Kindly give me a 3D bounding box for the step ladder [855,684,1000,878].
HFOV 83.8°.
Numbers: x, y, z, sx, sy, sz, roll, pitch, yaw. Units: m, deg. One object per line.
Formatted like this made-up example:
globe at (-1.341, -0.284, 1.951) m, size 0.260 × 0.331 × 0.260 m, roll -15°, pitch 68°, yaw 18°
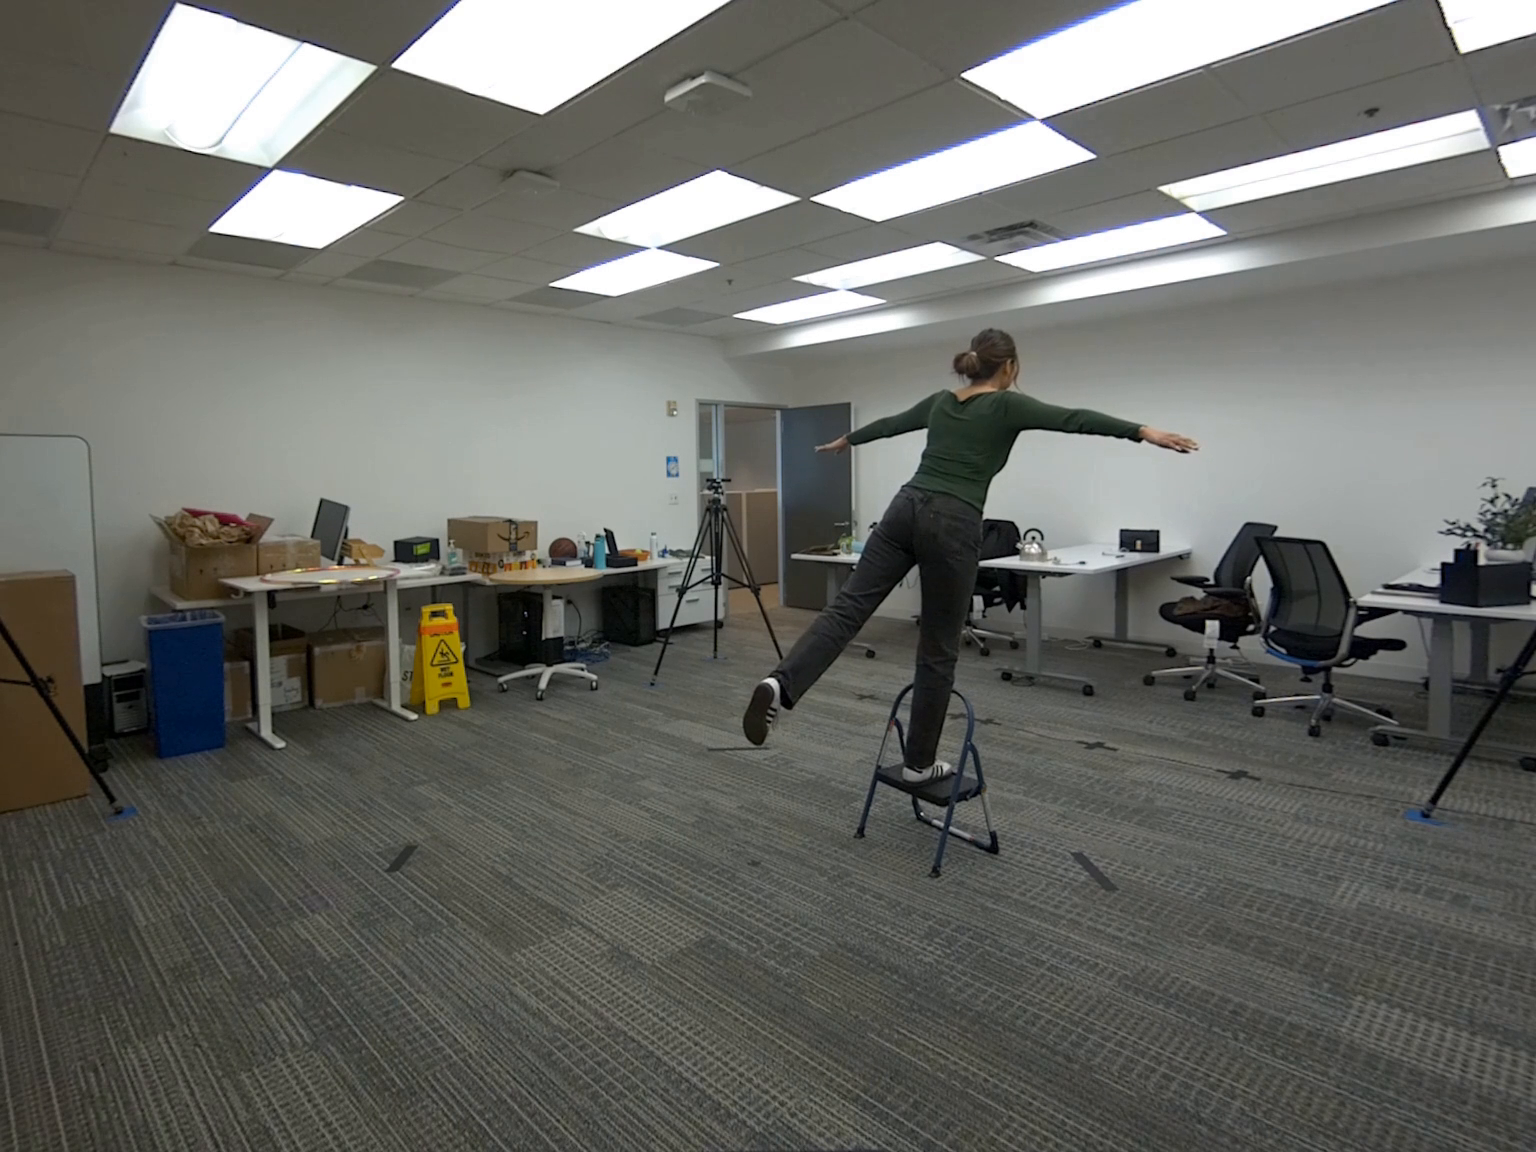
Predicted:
step ladder at (0.595, 0.720, 3.218) m, size 0.340 × 0.604 × 0.443 m, roll -3°, pitch 5°, yaw -34°
